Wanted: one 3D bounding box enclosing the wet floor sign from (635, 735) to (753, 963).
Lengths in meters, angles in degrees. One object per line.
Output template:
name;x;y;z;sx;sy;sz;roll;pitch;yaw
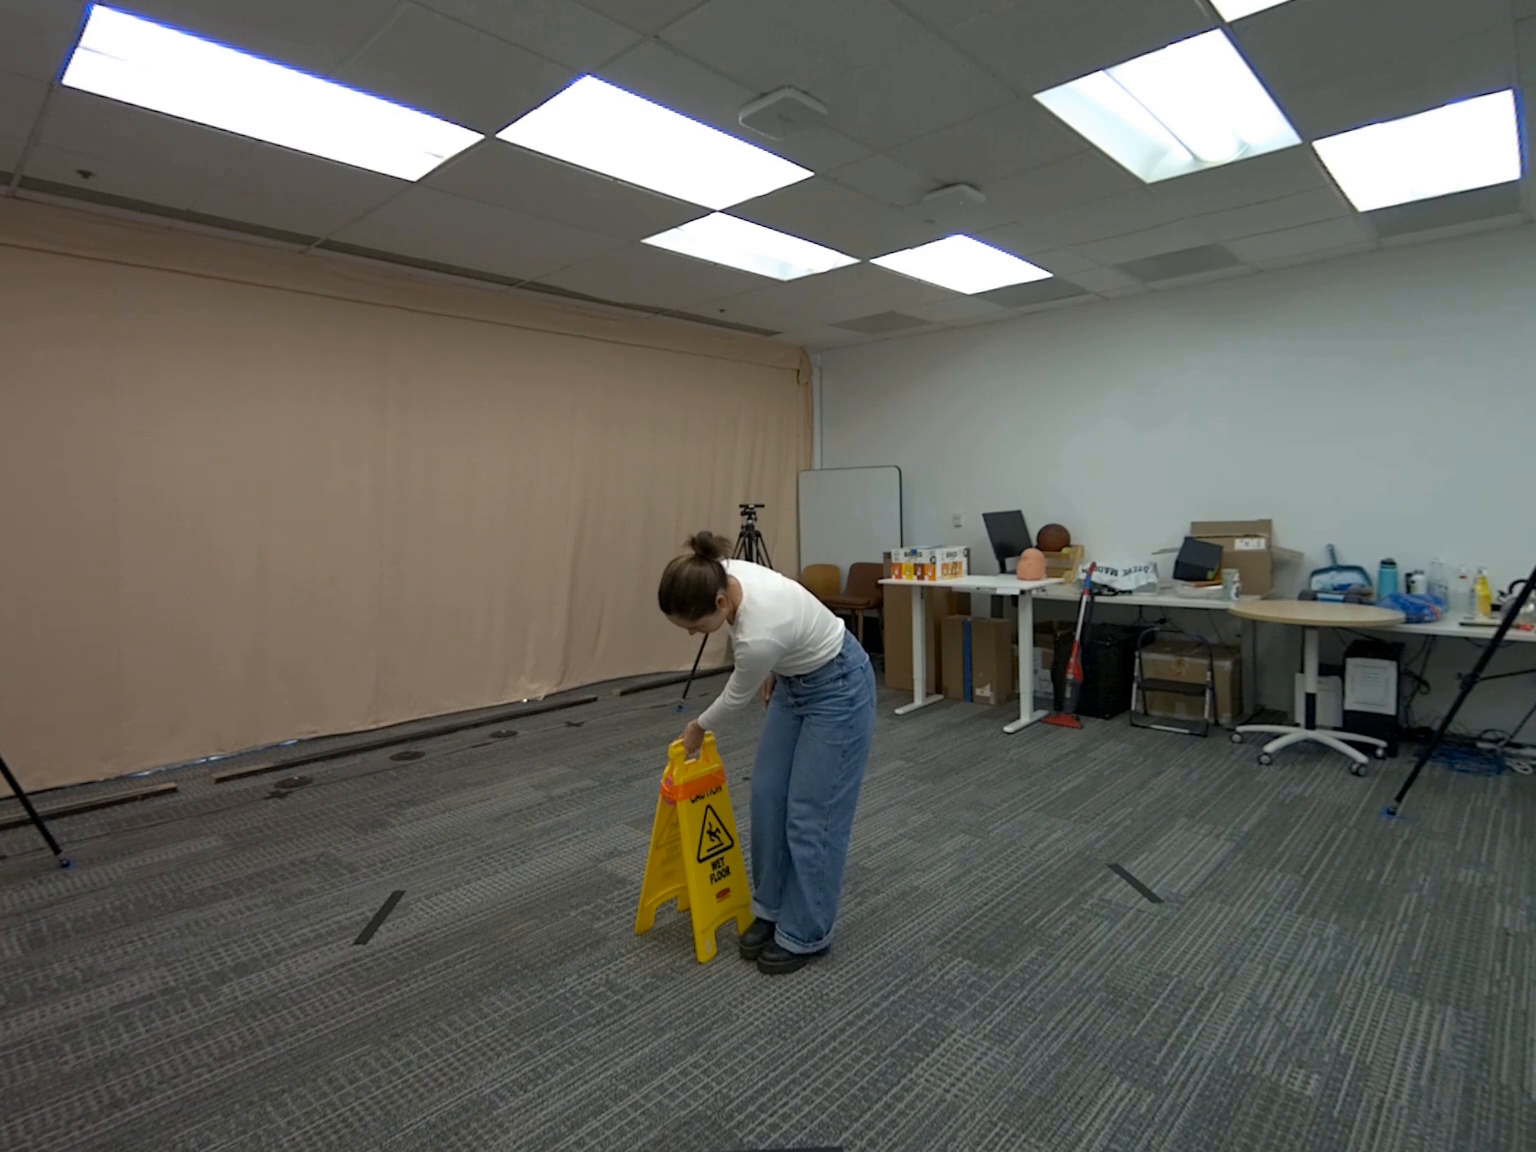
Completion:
wet floor sign;-0.241;0.843;2.736;0.299;0.645;0.274;1;3;39
